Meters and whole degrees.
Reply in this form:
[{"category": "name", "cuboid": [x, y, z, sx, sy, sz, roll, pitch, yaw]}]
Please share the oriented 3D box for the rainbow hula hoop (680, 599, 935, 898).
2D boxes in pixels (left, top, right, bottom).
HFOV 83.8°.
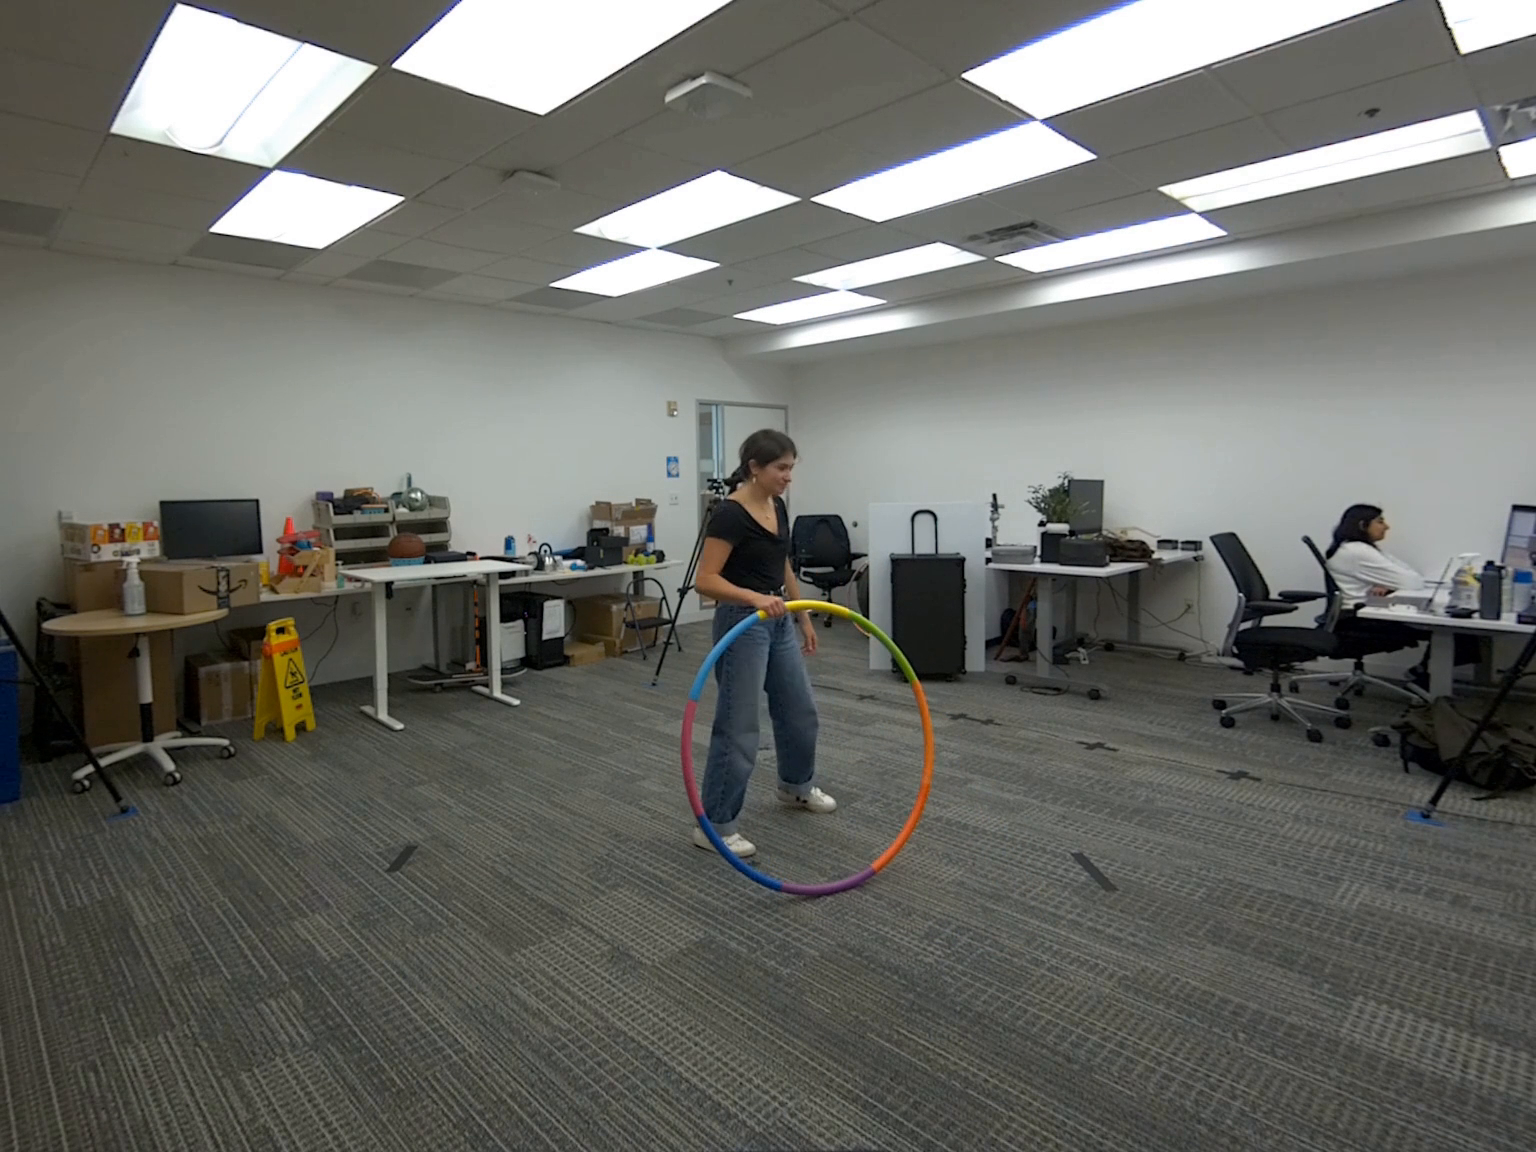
[{"category": "rainbow hula hoop", "cuboid": [0.165, 0.583, 2.954, 0.958, 0.988, 0.036, -3, -10, -25]}]
